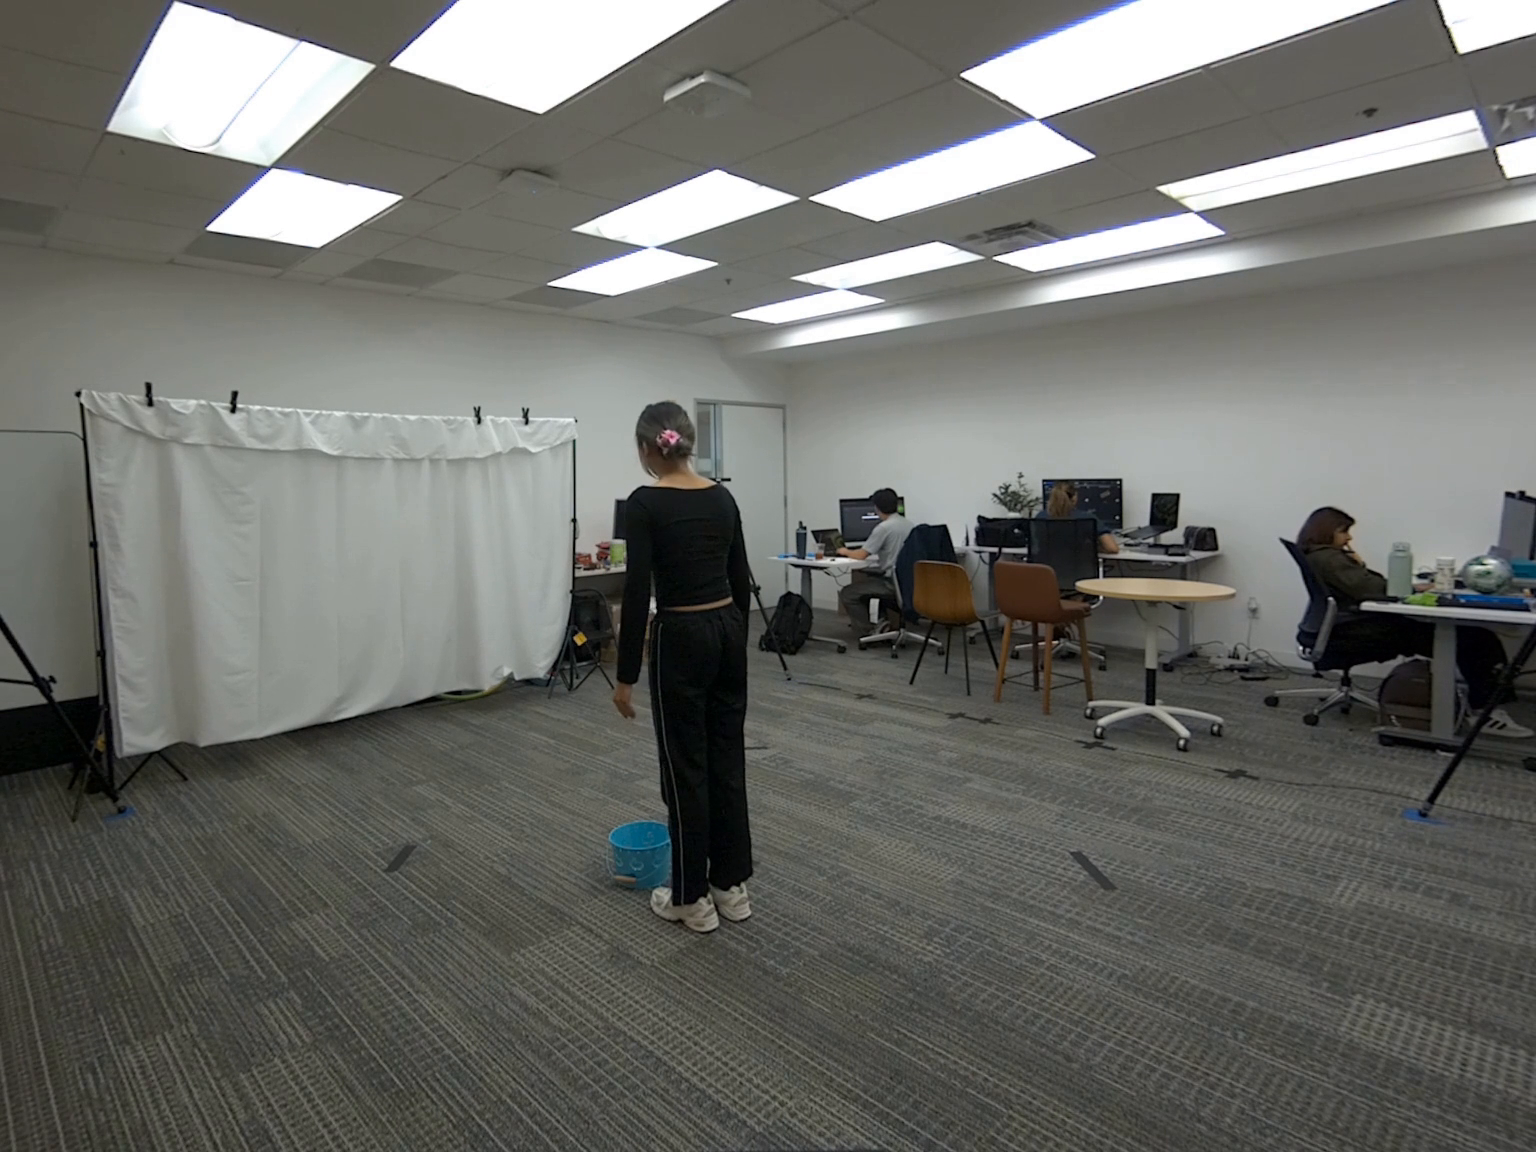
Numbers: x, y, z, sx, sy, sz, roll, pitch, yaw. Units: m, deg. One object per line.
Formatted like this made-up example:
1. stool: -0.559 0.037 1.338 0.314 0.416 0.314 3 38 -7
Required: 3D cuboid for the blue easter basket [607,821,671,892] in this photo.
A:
1. blue easter basket: -0.436 0.984 3.009 0.243 0.155 0.245 -1 5 -2
